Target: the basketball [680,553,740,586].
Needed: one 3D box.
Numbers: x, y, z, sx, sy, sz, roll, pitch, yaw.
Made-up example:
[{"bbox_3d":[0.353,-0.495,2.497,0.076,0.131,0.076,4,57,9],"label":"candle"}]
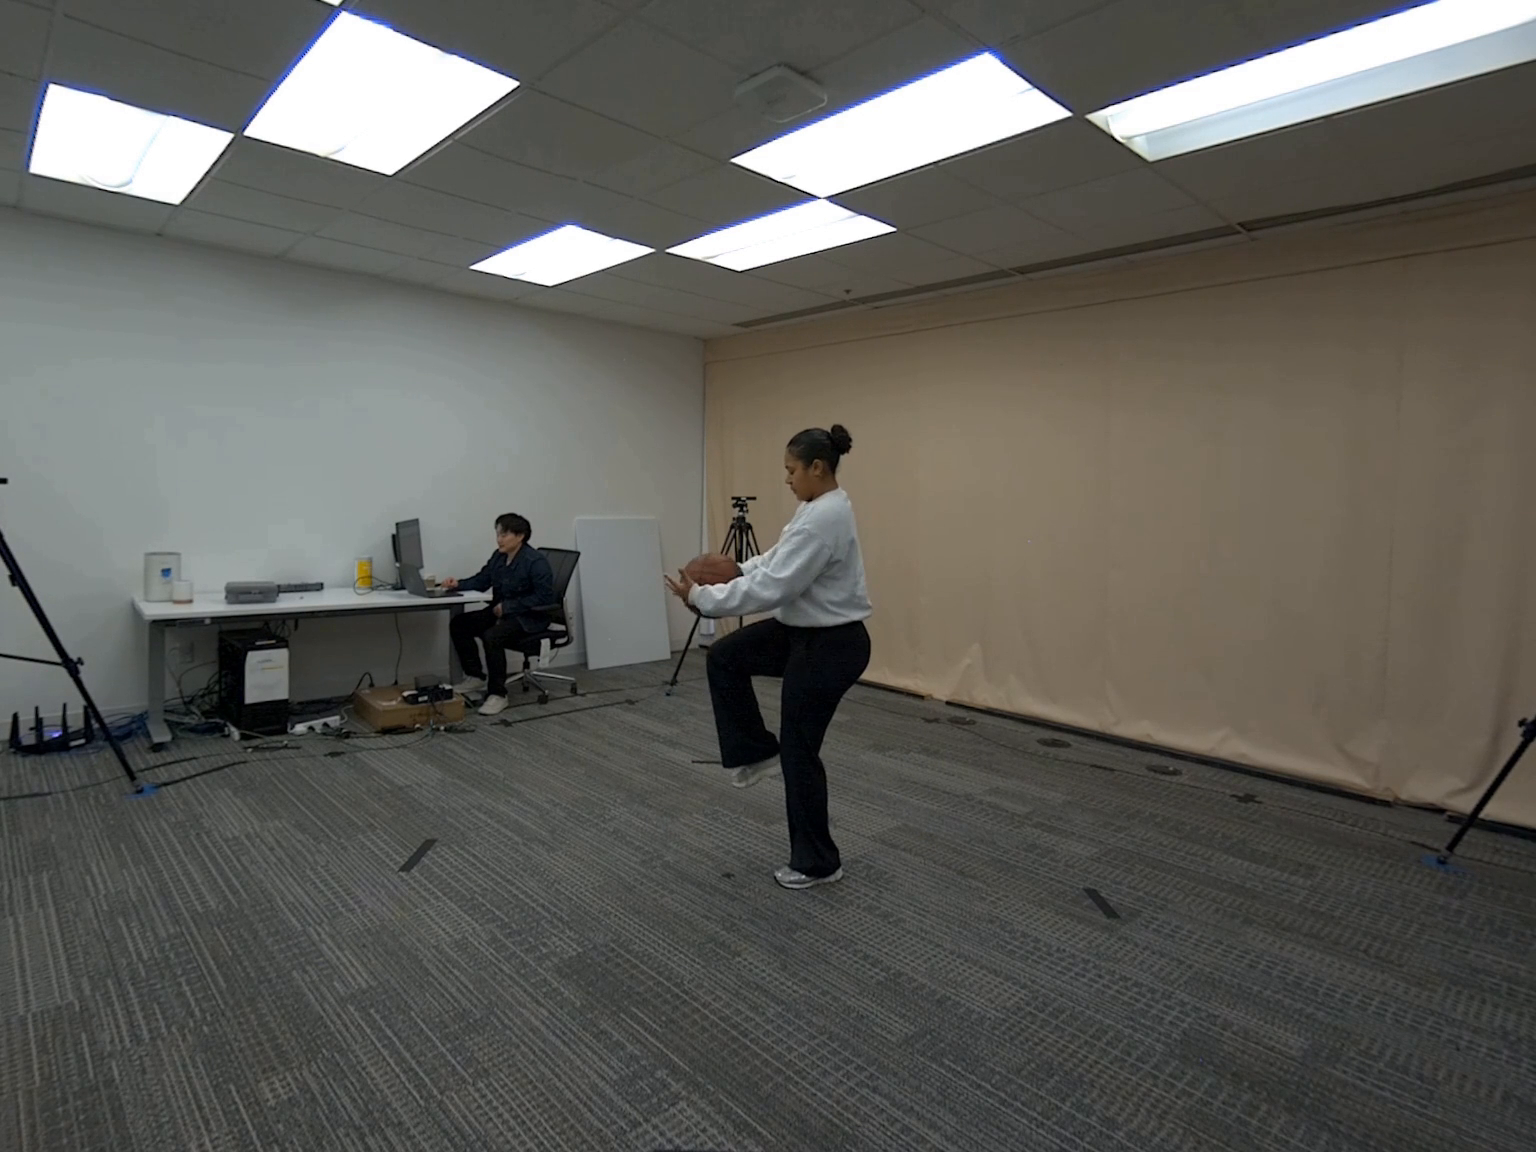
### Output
[{"bbox_3d":[-0.192,0.055,3.031,0.236,0.235,0.237,1,4,-1],"label":"basketball"}]
